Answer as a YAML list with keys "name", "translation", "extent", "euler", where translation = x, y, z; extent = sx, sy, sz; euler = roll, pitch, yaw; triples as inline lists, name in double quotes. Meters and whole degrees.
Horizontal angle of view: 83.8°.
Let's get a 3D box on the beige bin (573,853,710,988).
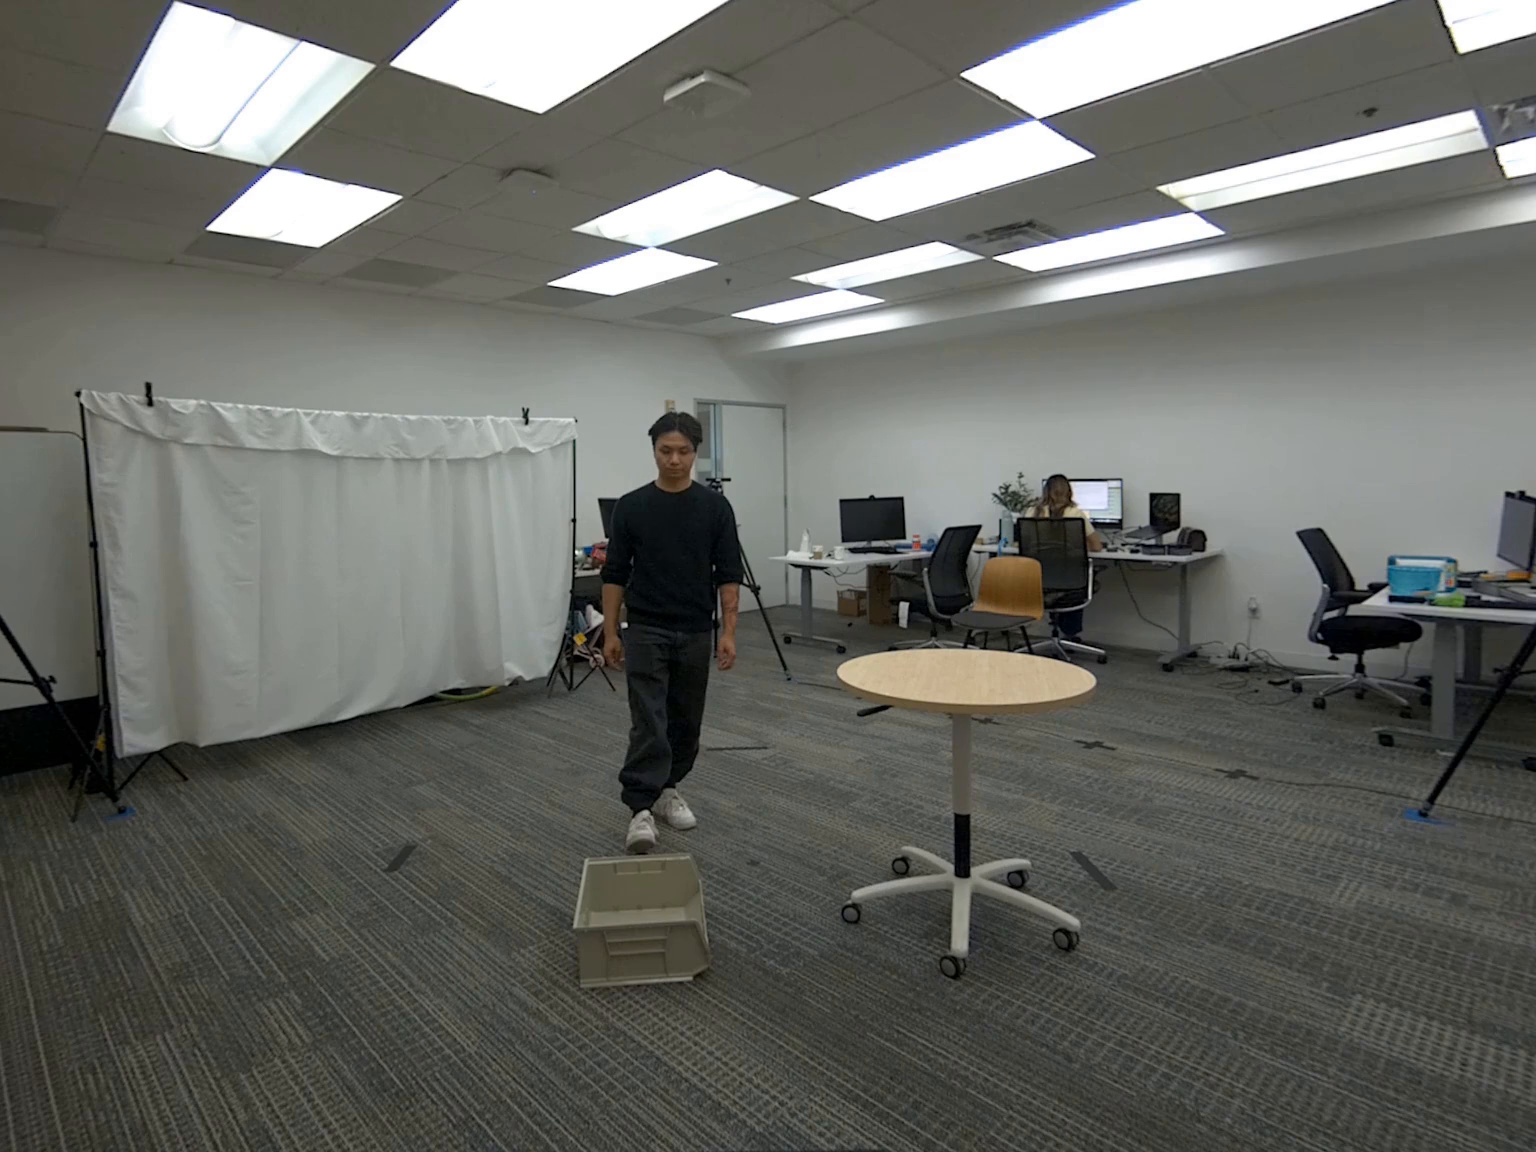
- name: "beige bin"
  translation: [-0.371, 1.022, 2.573]
  extent: [0.375, 0.188, 0.427]
  euler: [-2, 7, -6]
